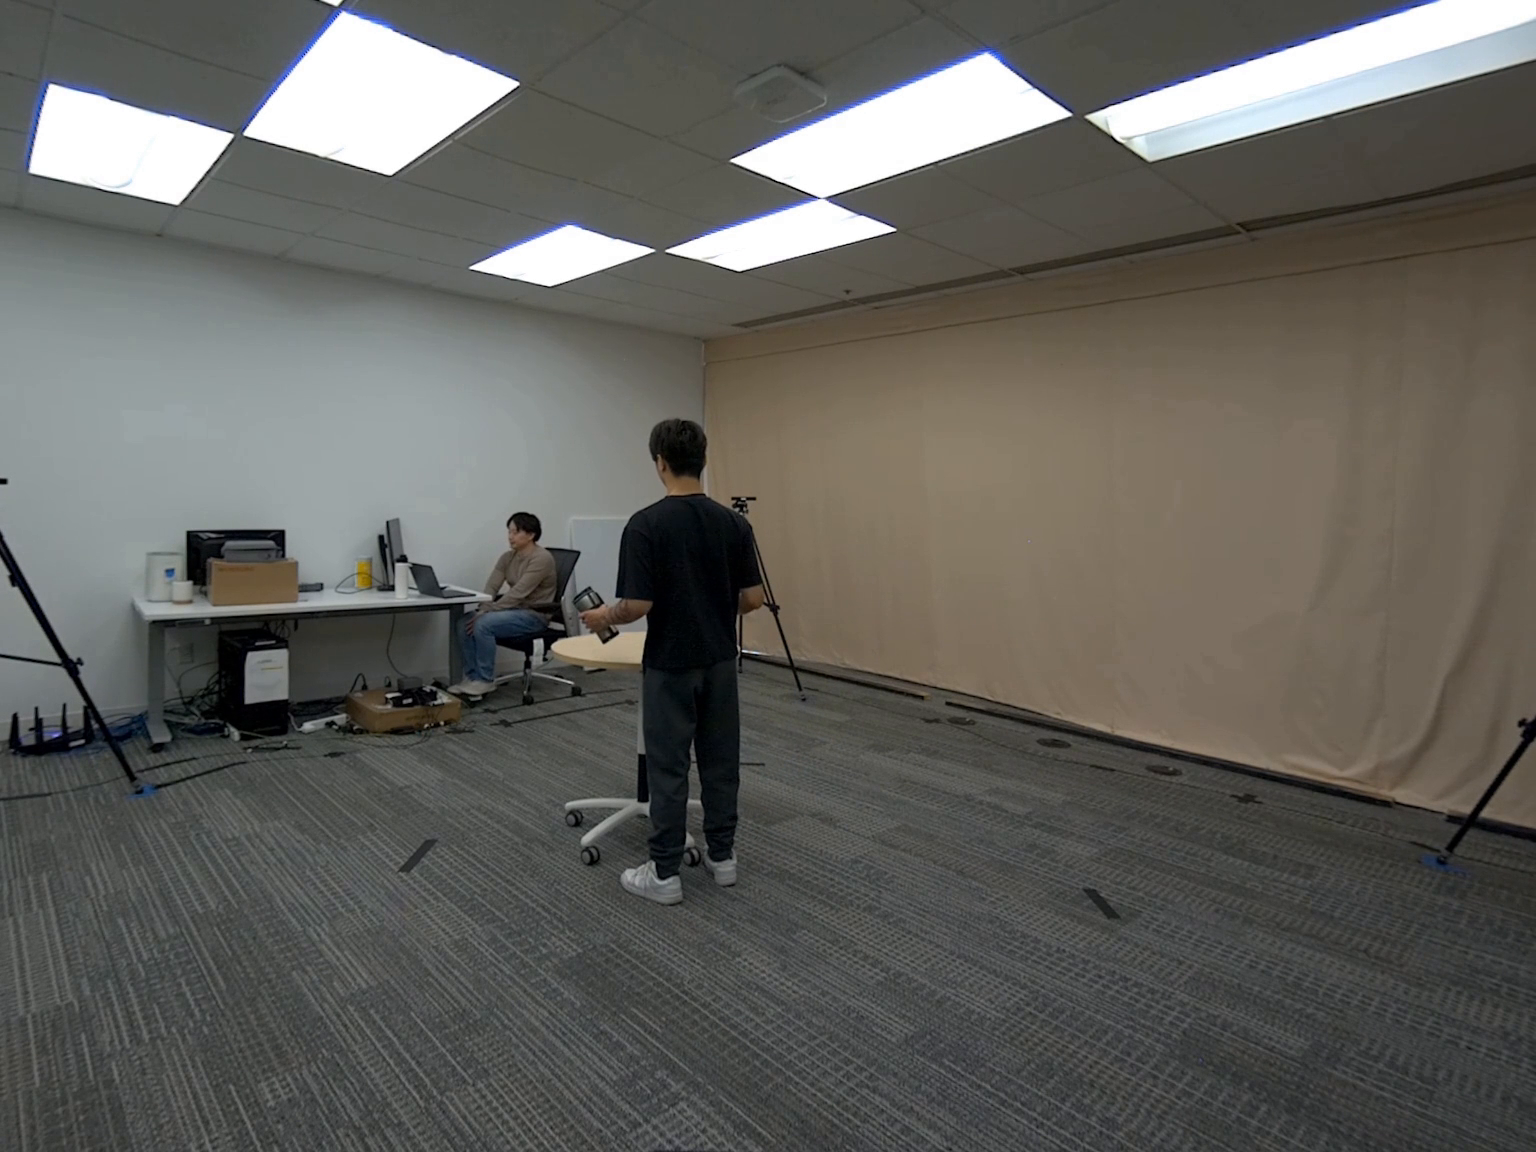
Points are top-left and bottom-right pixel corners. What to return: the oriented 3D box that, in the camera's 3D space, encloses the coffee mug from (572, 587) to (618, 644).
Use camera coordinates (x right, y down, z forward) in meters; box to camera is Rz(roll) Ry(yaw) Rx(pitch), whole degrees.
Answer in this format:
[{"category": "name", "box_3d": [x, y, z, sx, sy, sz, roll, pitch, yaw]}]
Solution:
[{"category": "coffee mug", "box_3d": [-0.611, 0.134, 3.066, 0.121, 0.204, 0.088, -33, -6, -47]}]
